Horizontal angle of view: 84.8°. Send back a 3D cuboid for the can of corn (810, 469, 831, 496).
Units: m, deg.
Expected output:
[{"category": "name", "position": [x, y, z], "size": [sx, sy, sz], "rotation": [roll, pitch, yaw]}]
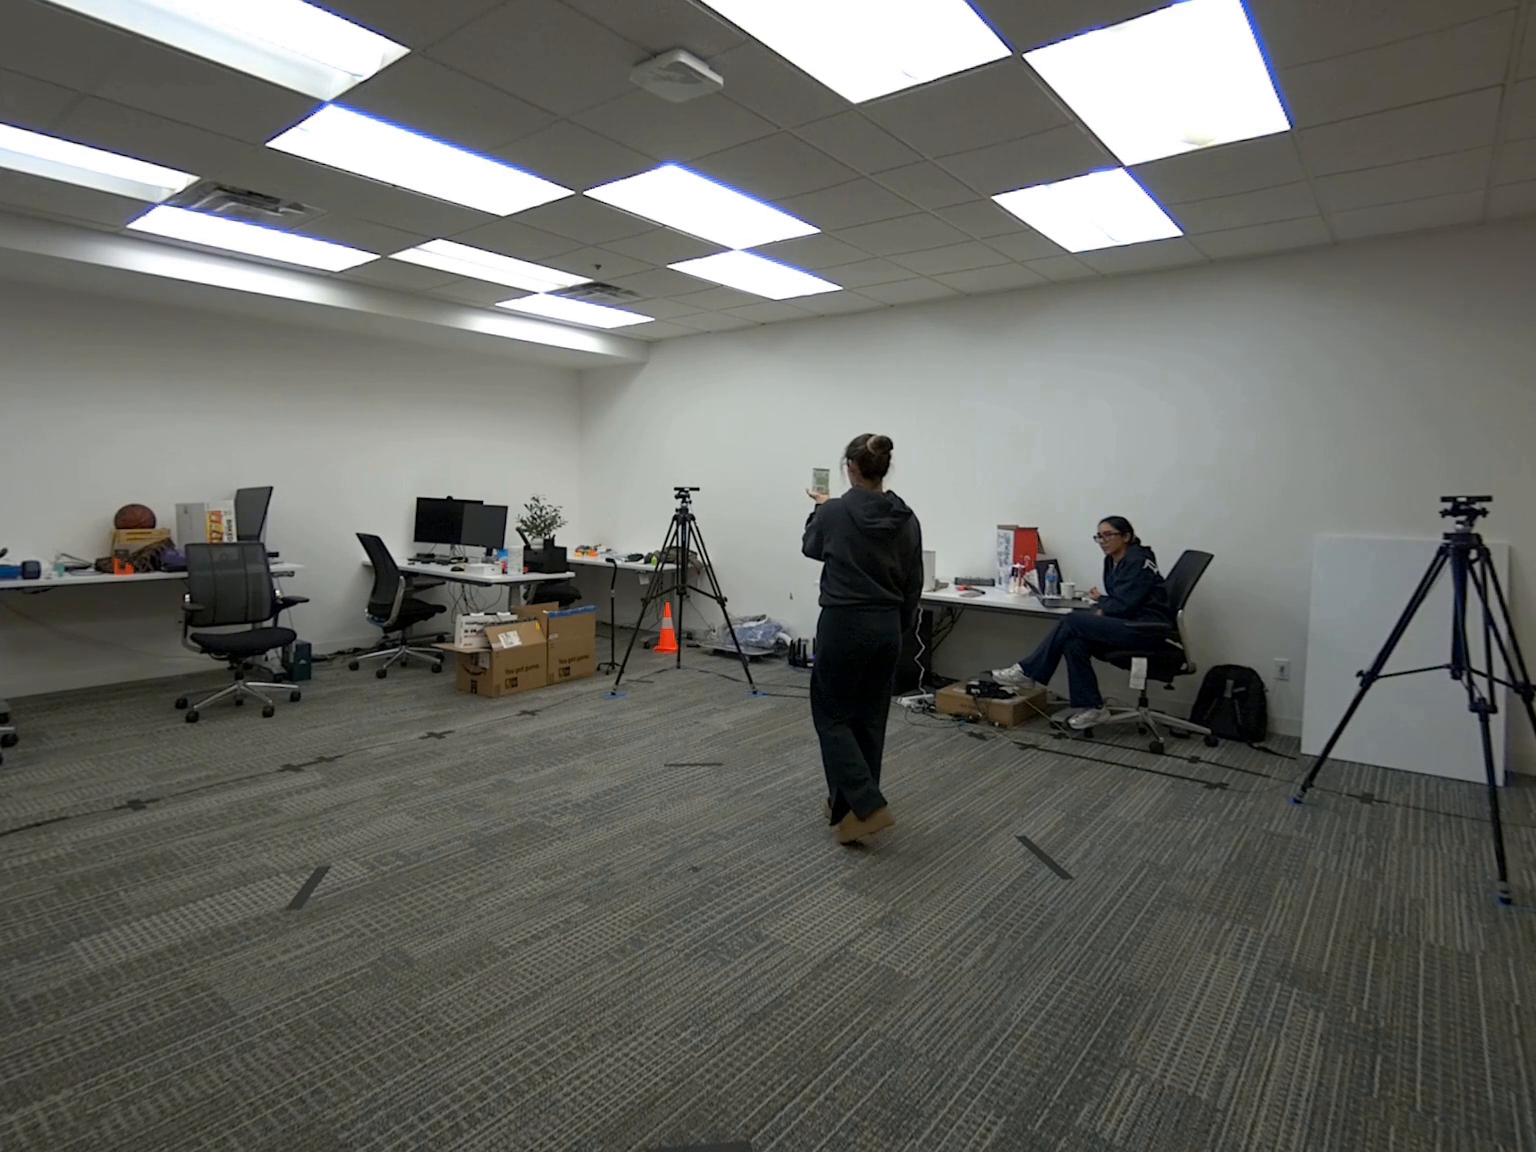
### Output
[{"category": "can of corn", "position": [0.231, -0.422, 3.761], "size": [0.074, 0.110, 0.075], "rotation": [2, 6, -2]}]
